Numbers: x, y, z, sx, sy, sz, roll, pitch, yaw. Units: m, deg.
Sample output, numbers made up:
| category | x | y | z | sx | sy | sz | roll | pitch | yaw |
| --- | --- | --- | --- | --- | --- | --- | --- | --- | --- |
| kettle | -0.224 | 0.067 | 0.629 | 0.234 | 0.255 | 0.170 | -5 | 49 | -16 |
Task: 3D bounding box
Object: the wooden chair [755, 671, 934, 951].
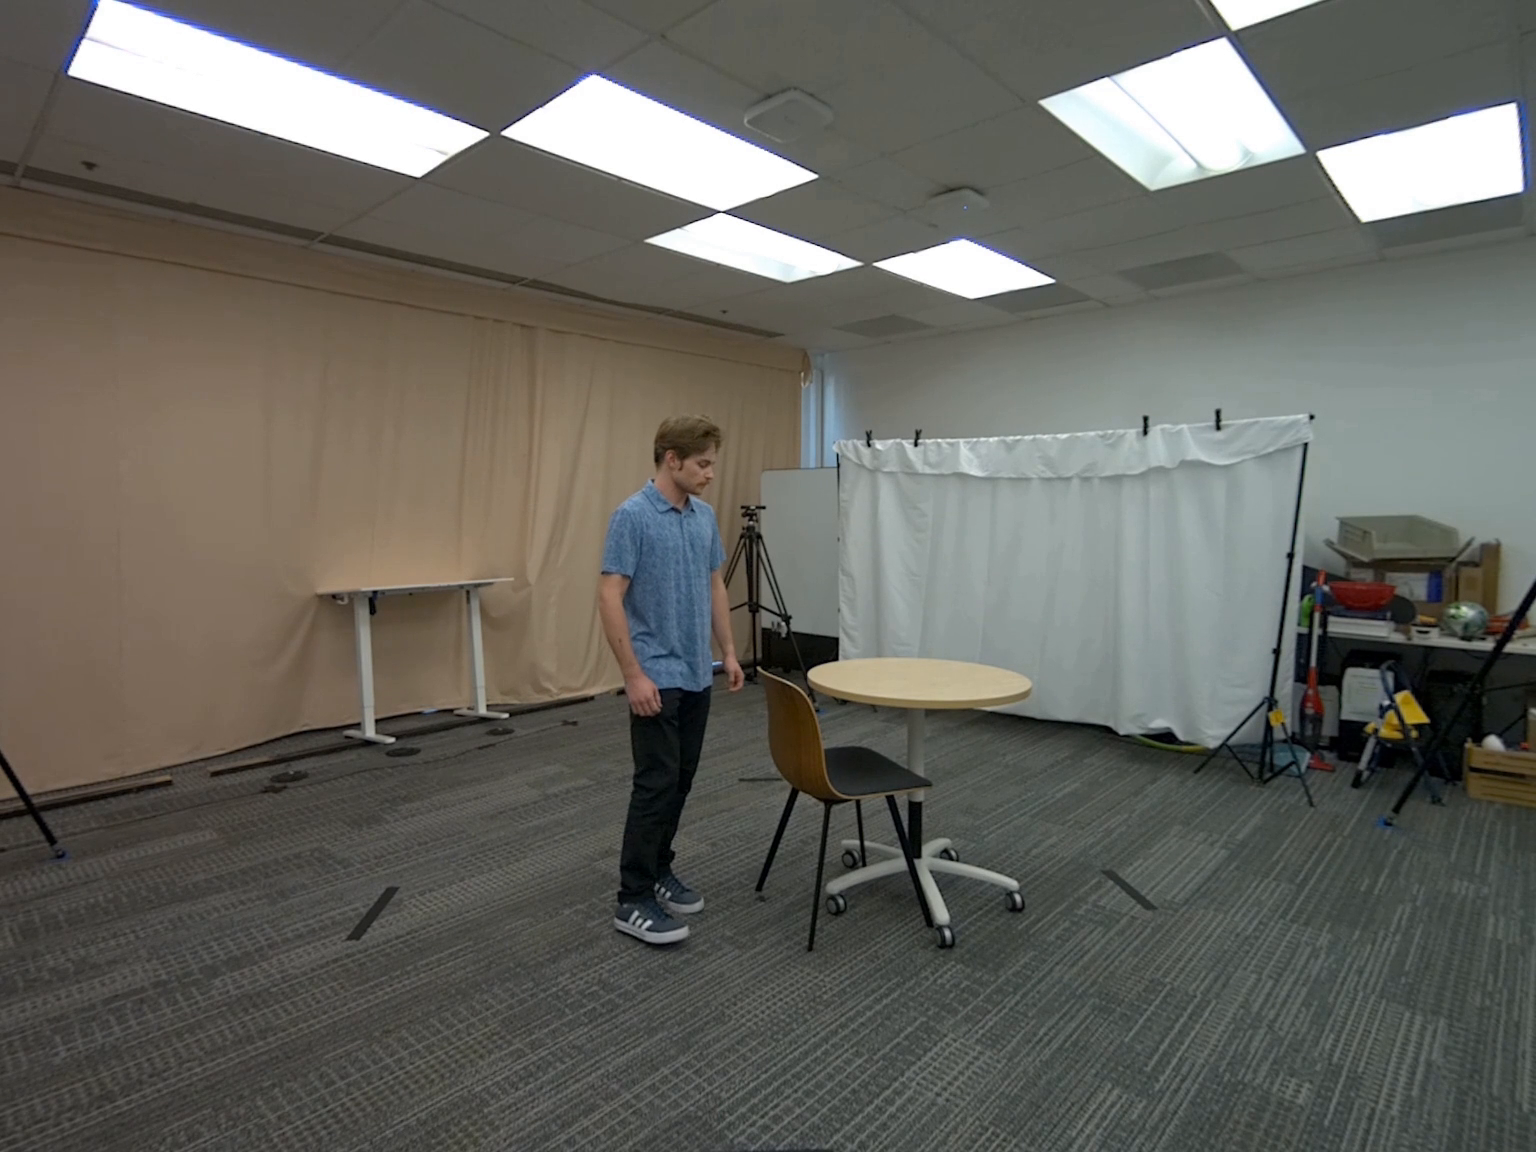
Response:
| category | x | y | z | sx | sy | sz | roll | pitch | yaw |
| --- | --- | --- | --- | --- | --- | --- | --- | --- | --- |
| wooden chair | 0.259 | 0.722 | 2.875 | 0.513 | 0.875 | 0.489 | -6 | 4 | -21 |
